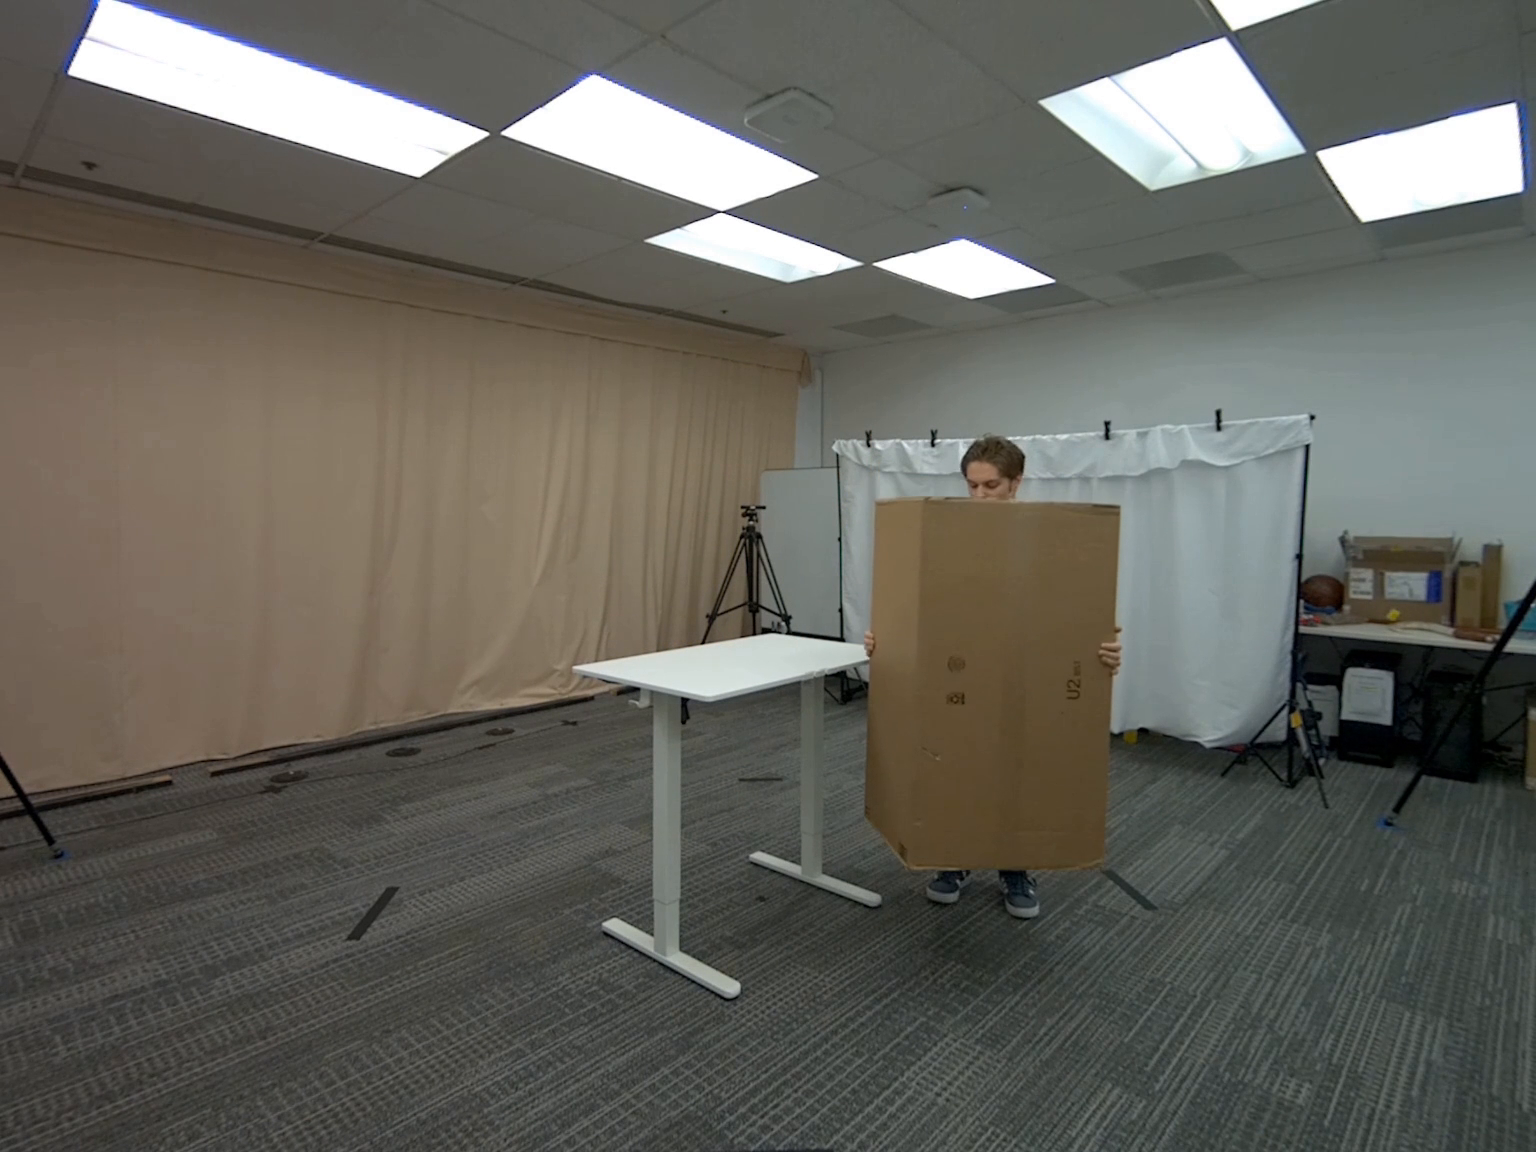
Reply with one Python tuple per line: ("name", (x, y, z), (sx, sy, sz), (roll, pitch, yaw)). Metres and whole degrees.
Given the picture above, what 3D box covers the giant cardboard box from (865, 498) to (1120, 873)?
("giant cardboard box", (0.647, 0.290, 2.510), (0.573, 1.024, 0.430), (1, 2, -8))
